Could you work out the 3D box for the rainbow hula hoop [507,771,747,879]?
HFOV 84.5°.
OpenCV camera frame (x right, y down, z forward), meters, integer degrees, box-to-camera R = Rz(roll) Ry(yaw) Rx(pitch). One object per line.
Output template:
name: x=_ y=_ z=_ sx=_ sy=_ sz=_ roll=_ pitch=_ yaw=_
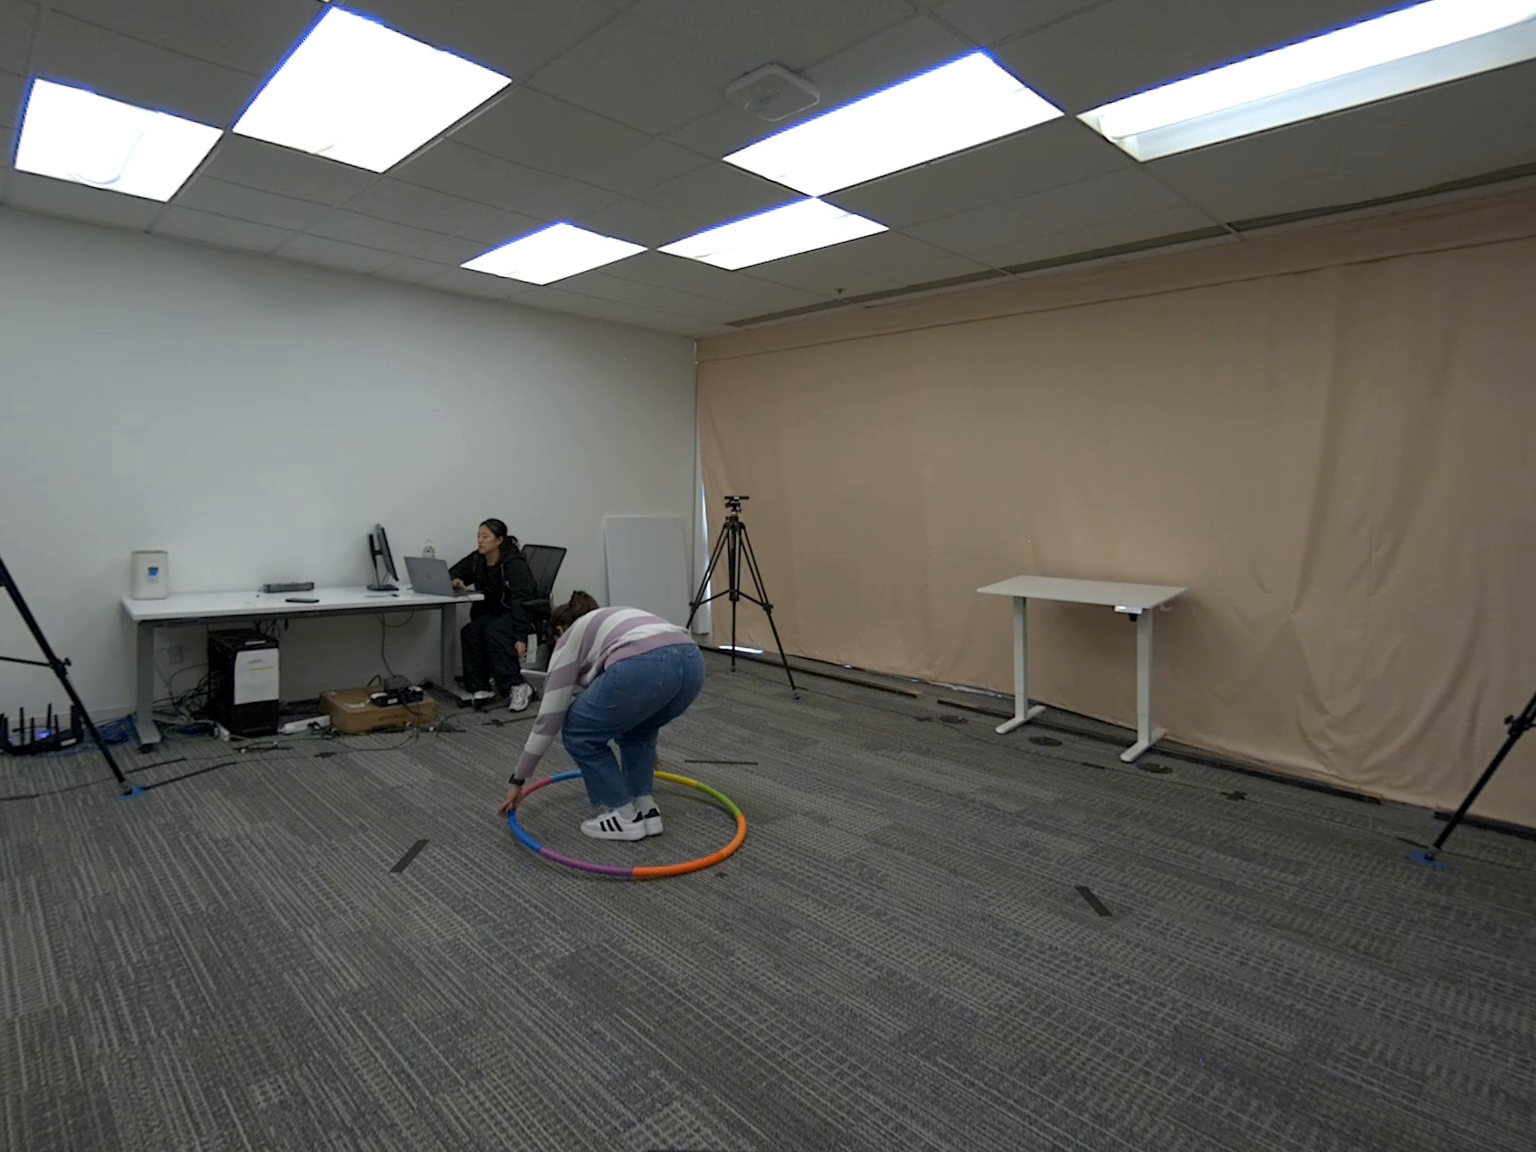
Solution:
rainbow hula hoop: x=-0.587 y=0.988 z=3.507 sx=0.978 sy=0.035 sz=0.984 roll=5 pitch=7 yaw=-2
